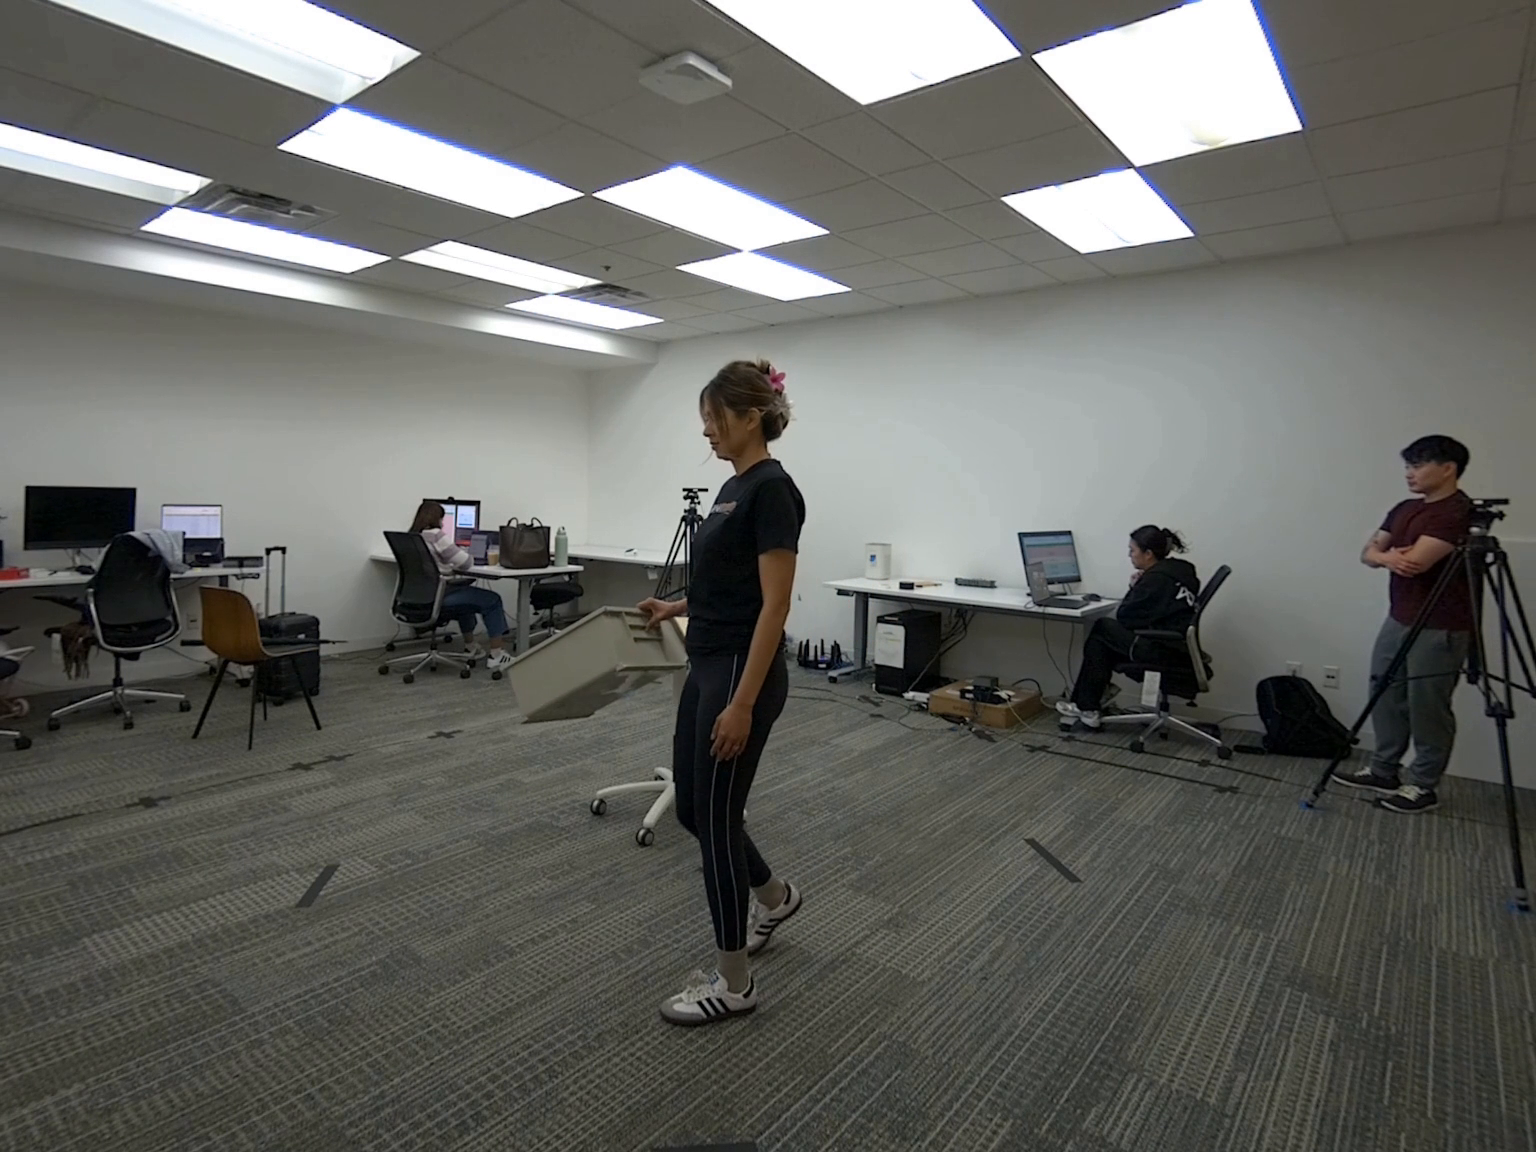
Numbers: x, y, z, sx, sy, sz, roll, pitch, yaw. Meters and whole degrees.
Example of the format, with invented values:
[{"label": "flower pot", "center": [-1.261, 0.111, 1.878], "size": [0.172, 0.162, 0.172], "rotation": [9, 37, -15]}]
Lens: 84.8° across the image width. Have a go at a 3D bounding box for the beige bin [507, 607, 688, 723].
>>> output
[{"label": "beige bin", "center": [-0.513, 0.273, 2.557], "size": [0.426, 0.193, 0.365], "rotation": [-28, -17, 23]}]
